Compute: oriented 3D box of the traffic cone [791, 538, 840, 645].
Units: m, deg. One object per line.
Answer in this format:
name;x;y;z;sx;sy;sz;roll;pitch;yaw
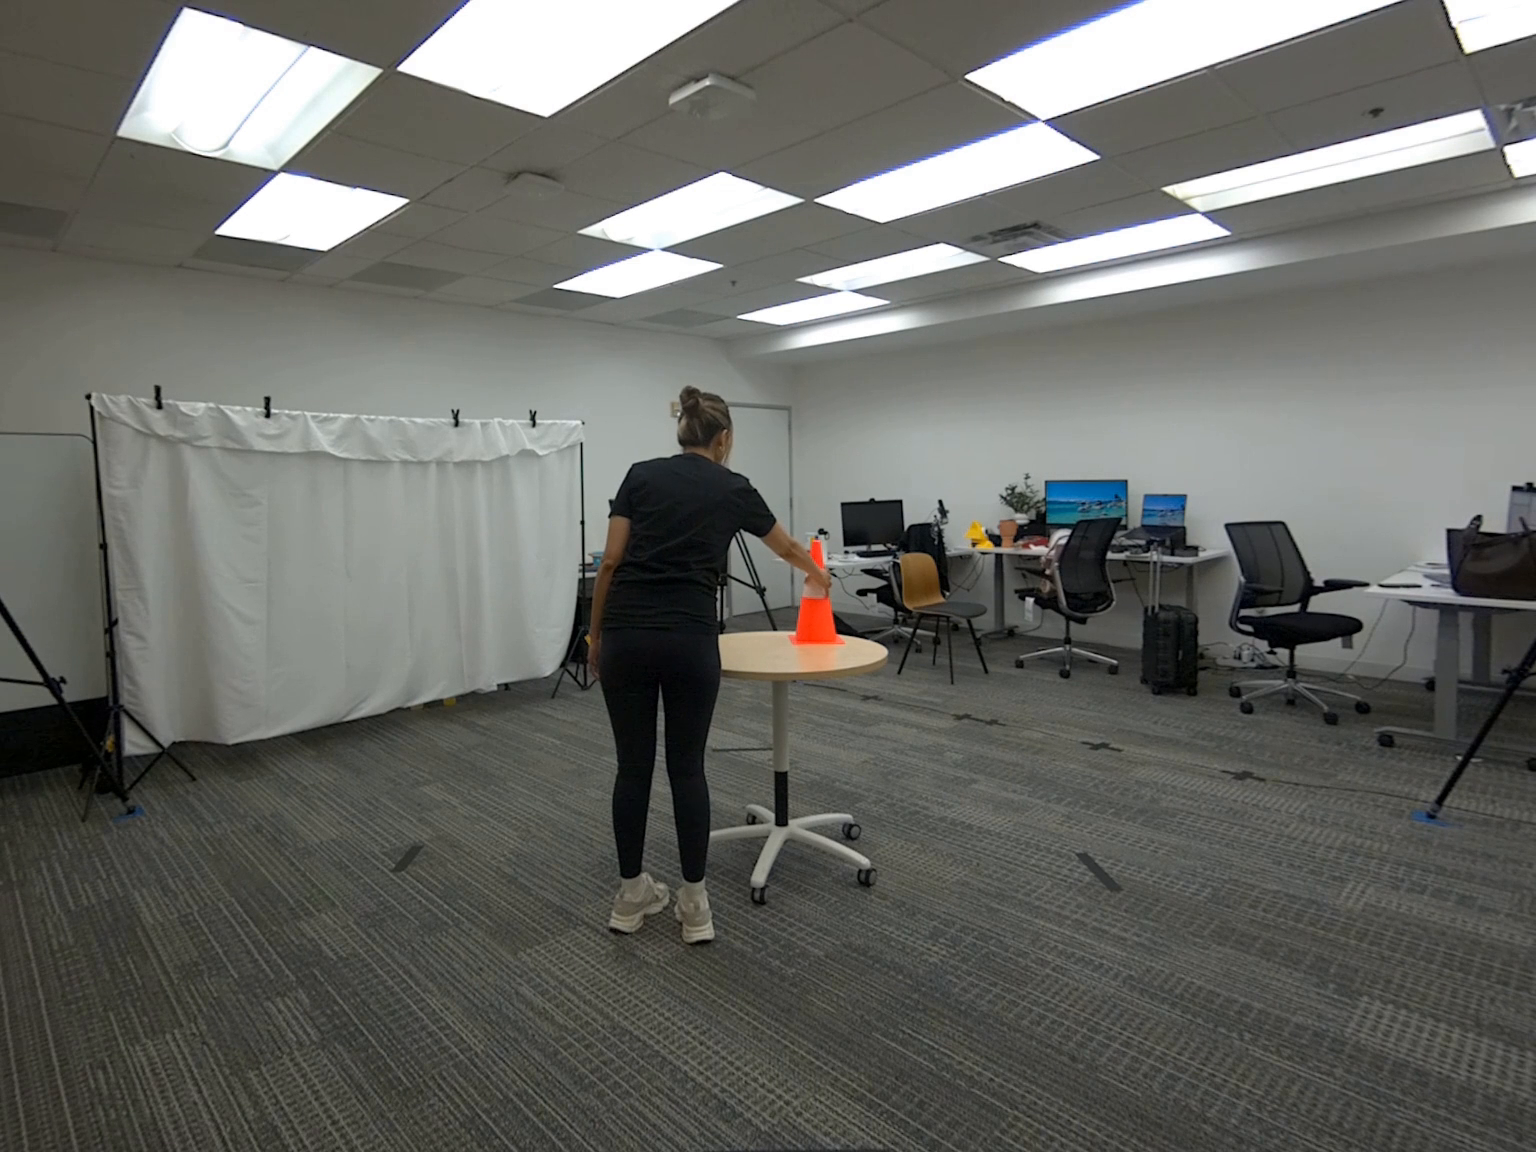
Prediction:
traffic cone;0.187;0.060;3.253;0.202;0.382;0.207;-1;4;-6
